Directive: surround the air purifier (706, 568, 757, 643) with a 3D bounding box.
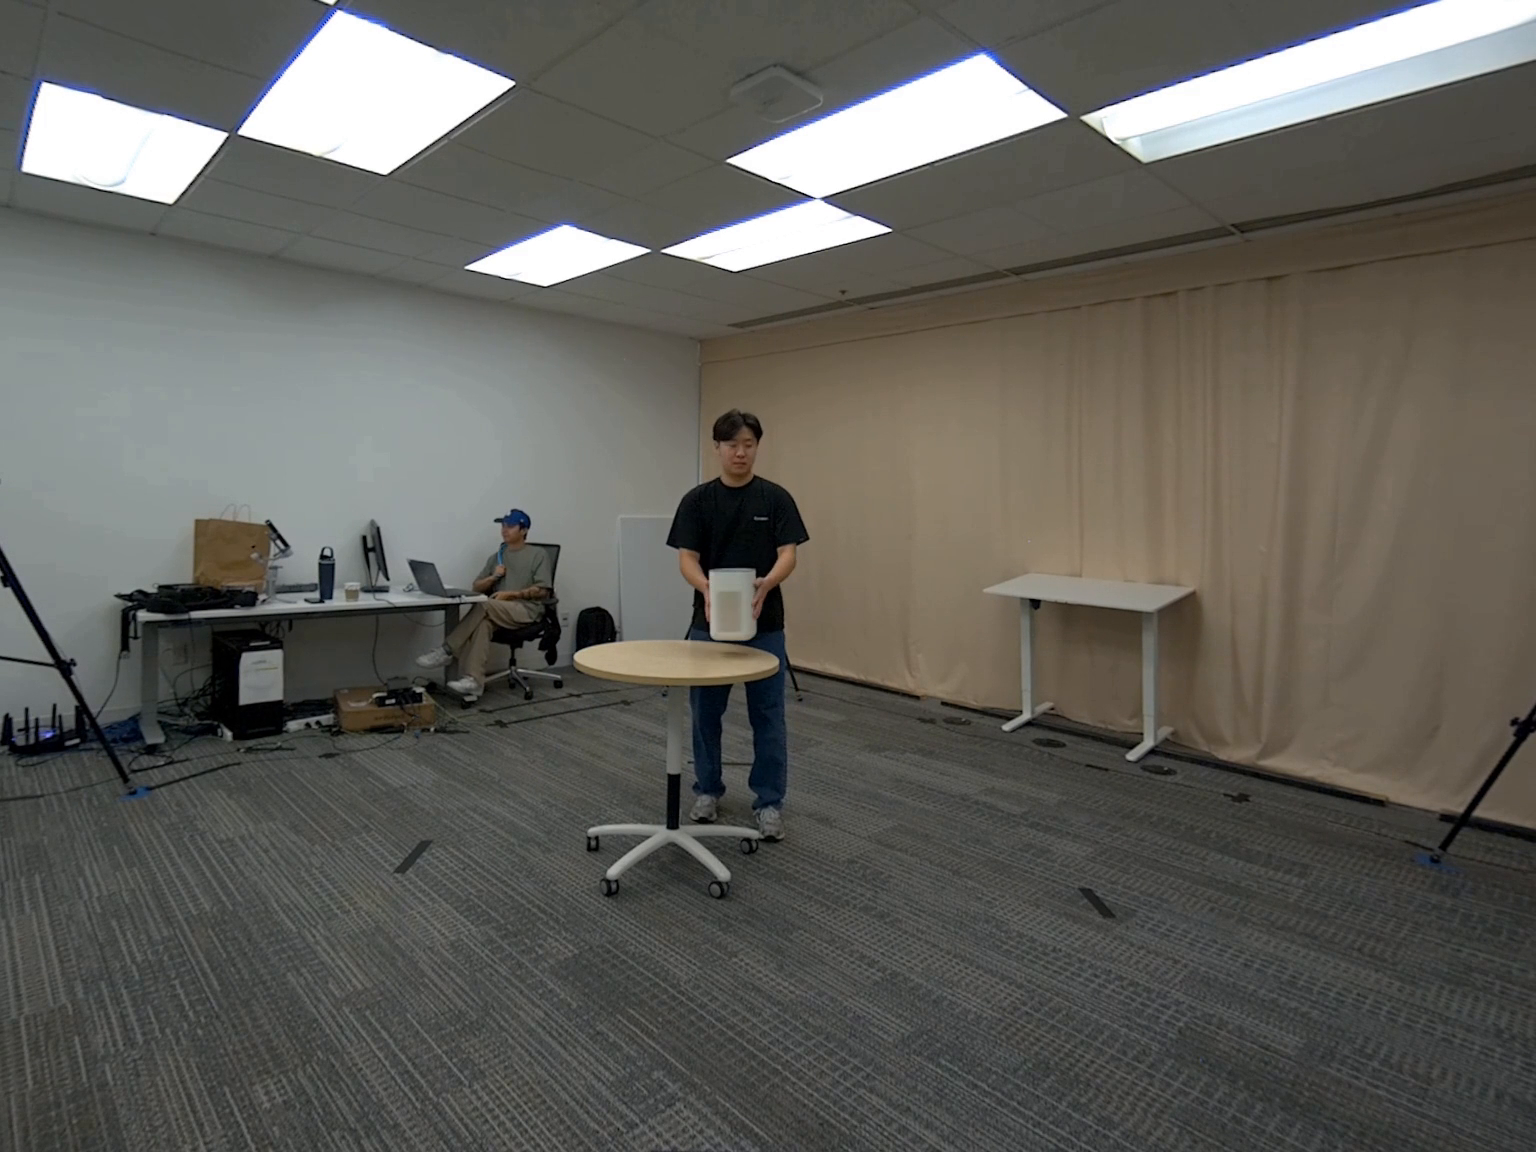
[{"bbox_3d":[-0.147,0.113,3.222,0.172,0.265,0.171,-3,1,3],"label":"air purifier"}]
